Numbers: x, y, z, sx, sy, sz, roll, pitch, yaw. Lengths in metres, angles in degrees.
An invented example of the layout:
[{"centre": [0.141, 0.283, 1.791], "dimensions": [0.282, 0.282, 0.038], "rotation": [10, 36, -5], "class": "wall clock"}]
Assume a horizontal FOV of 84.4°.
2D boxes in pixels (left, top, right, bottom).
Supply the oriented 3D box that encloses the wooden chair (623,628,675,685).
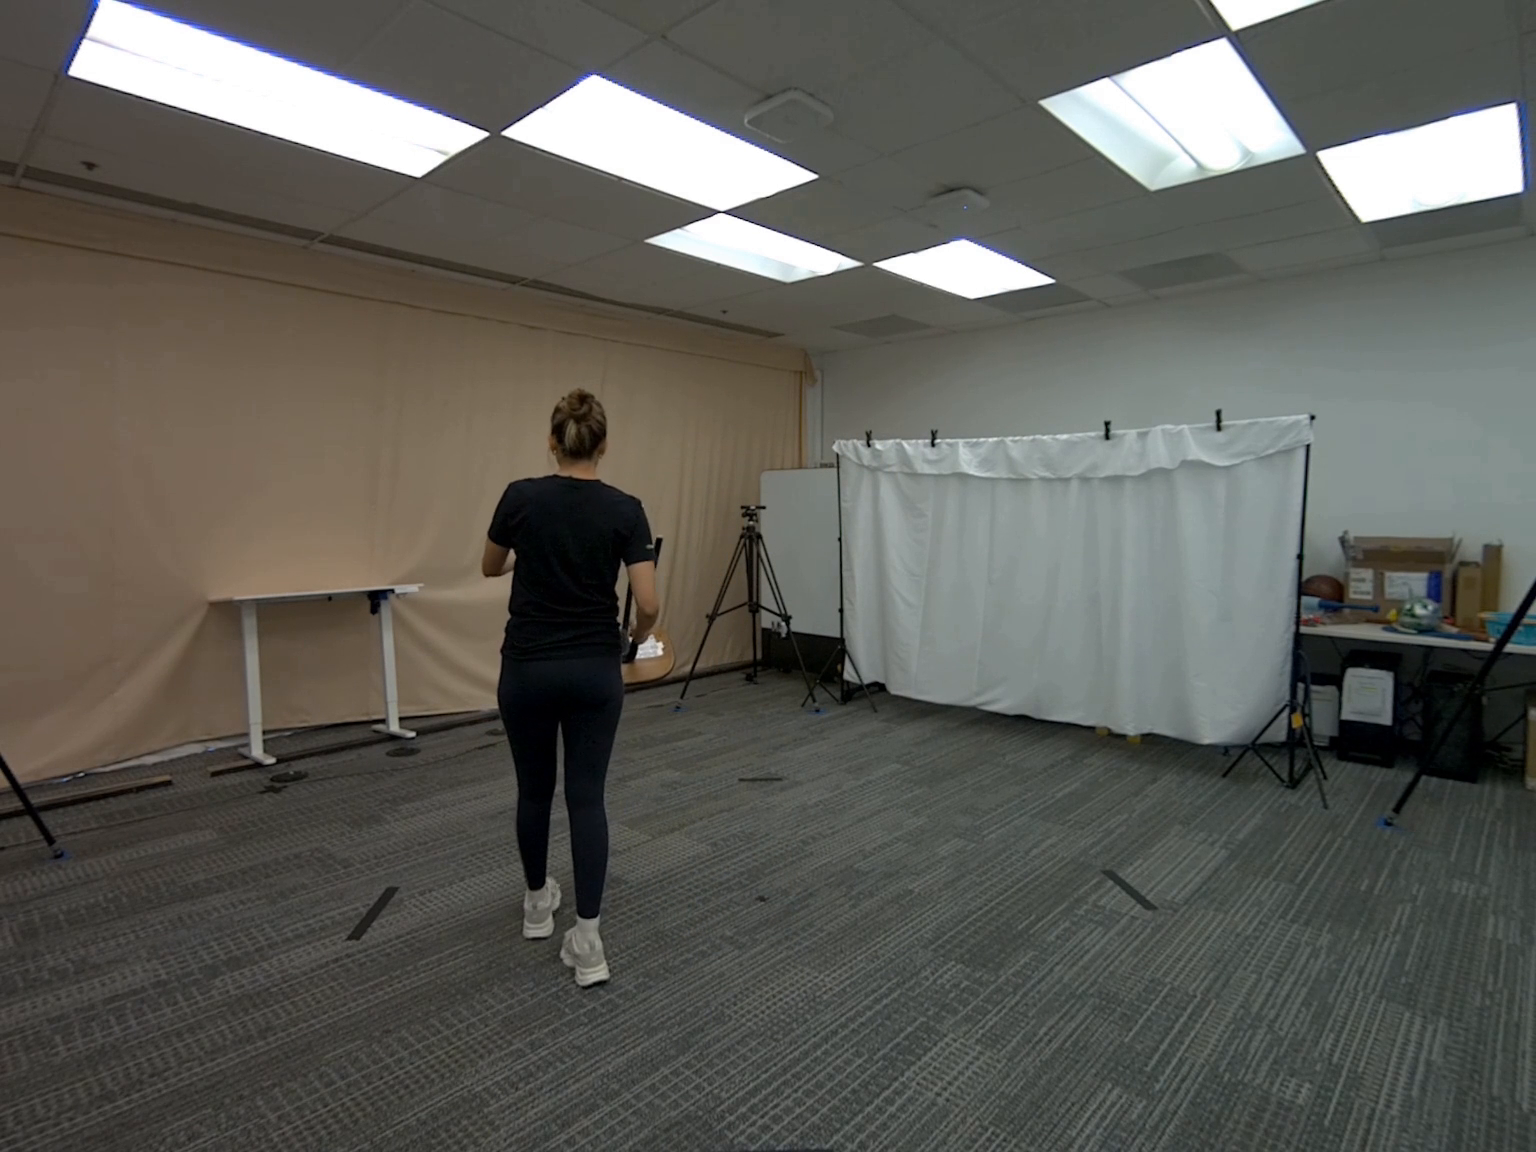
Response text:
[{"centre": [-0.594, 0.241, 2.907], "dimensions": [0.516, 0.870, 0.489], "rotation": [-2, 16, -14], "class": "wooden chair"}]
